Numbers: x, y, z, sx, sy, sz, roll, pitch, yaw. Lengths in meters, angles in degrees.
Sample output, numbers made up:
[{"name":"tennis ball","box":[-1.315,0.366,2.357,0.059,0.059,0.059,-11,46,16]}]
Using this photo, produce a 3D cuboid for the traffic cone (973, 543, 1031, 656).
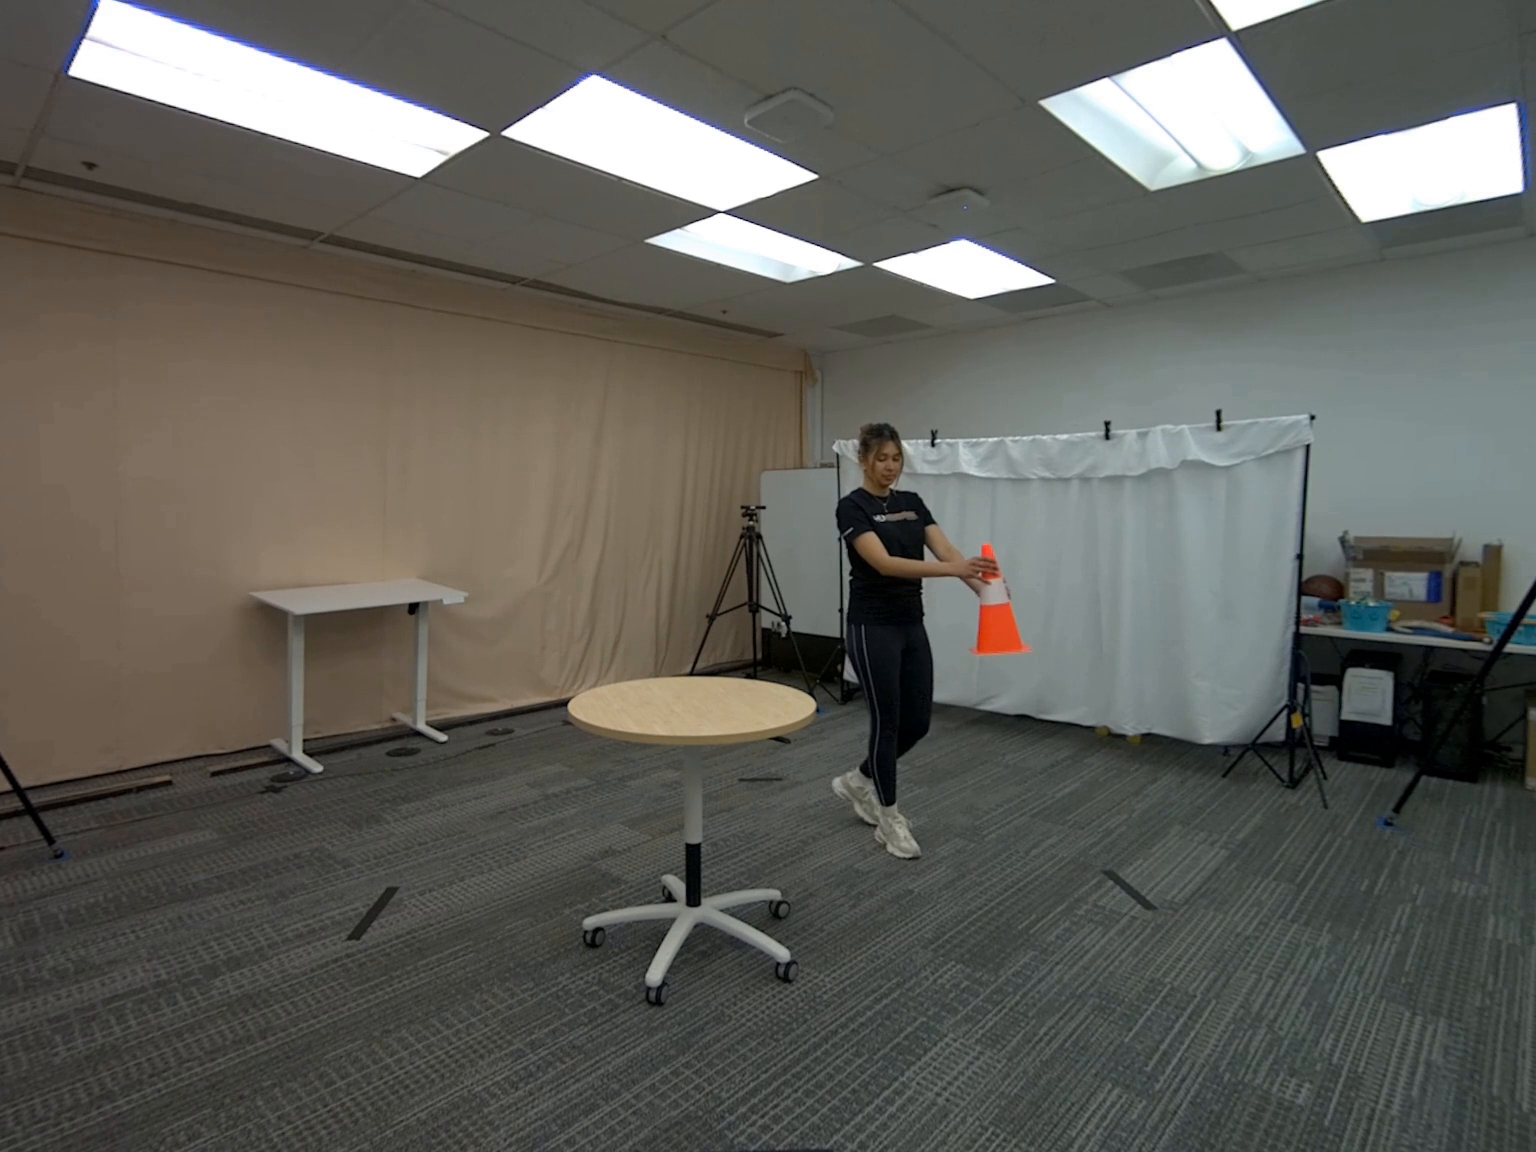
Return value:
[{"name":"traffic cone","box":[0.813,0.078,3.036,0.207,0.383,0.202,-5,2,15]}]
